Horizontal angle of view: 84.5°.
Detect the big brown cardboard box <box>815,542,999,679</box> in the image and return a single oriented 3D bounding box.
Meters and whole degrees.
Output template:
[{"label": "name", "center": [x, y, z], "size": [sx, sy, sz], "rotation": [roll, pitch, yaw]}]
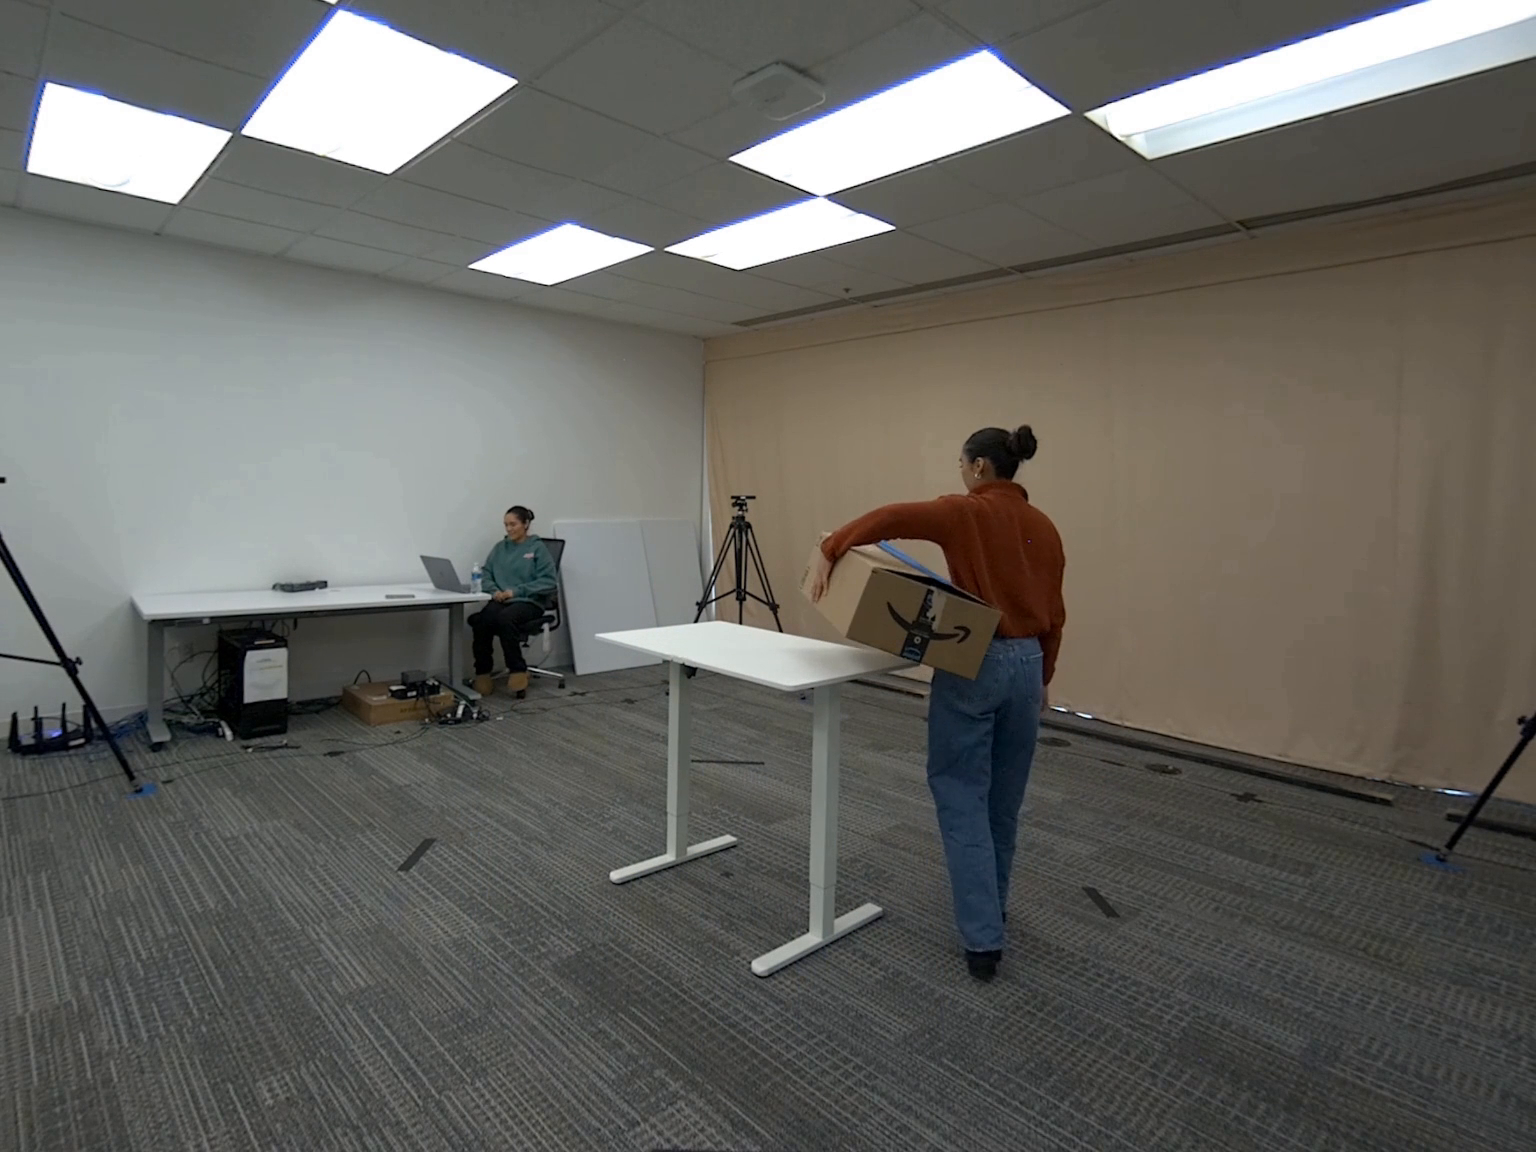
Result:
[{"label": "big brown cardboard box", "center": [0.375, 0.075, 2.621], "size": [0.412, 0.232, 0.599], "rotation": [18, 11, -14]}]
